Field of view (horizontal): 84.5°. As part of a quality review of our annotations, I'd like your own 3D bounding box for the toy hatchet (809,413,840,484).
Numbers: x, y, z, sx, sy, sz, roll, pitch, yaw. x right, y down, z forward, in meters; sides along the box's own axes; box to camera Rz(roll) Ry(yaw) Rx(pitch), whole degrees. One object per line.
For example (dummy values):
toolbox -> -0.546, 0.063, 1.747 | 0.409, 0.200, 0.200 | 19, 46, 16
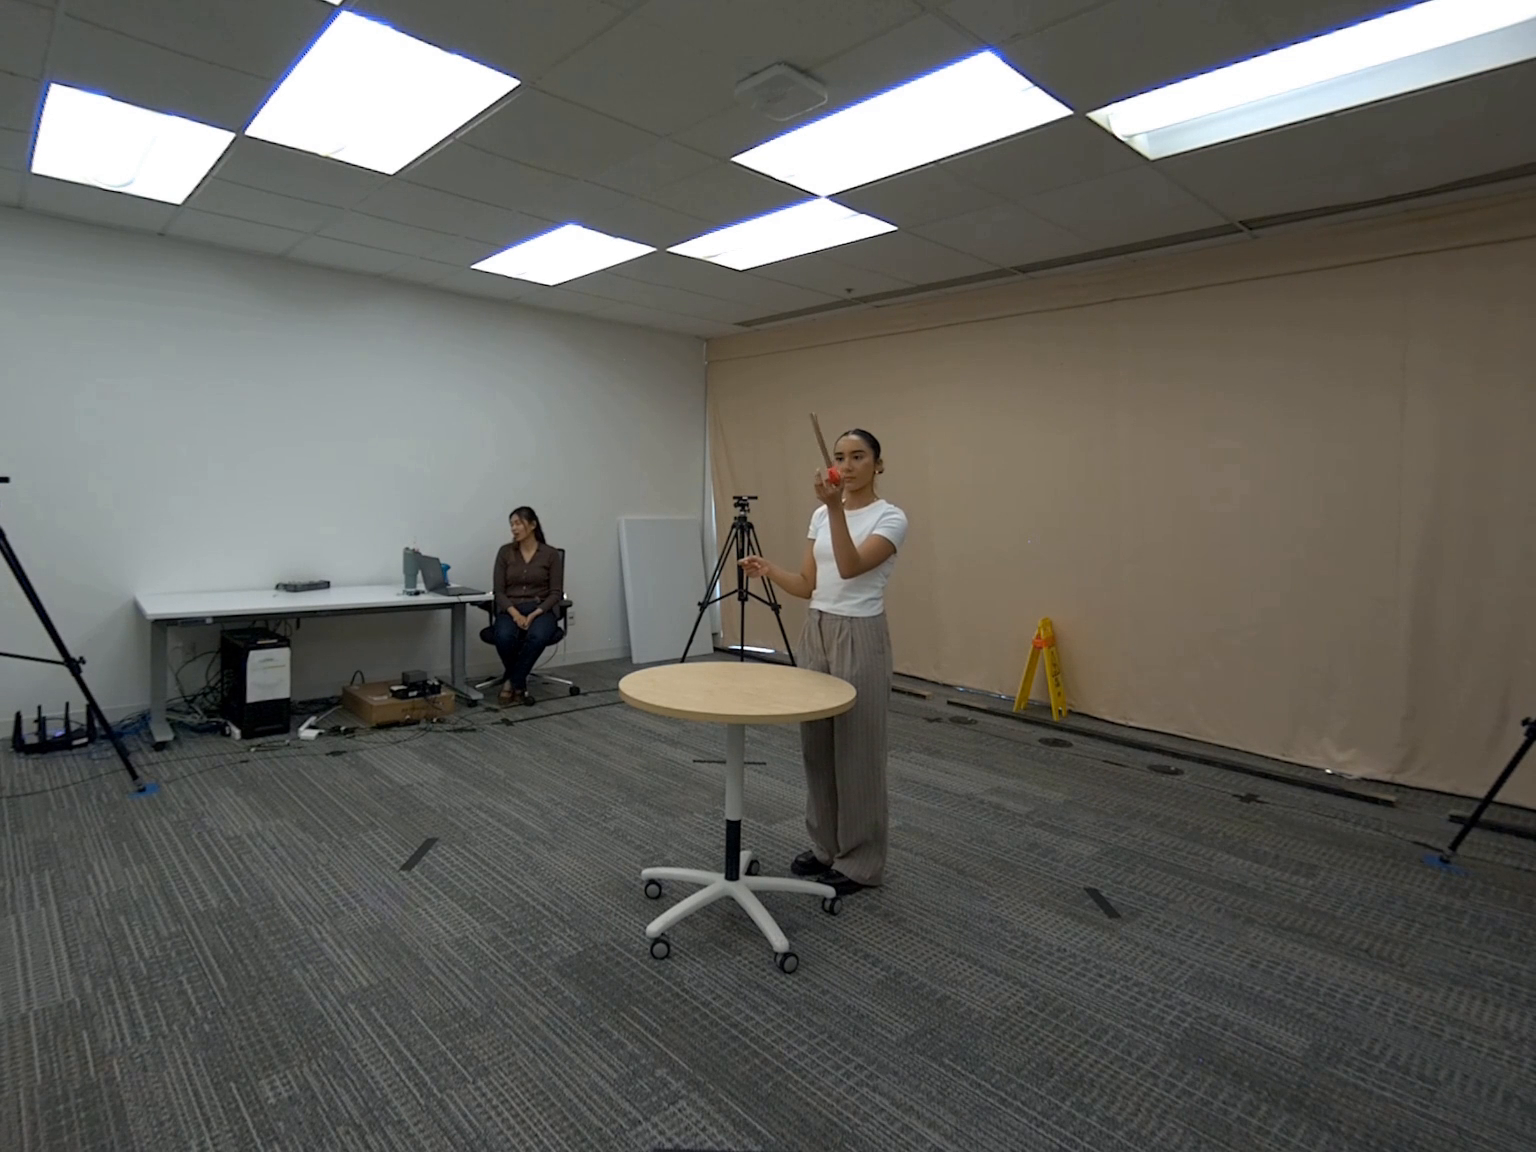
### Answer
toy hatchet -> 0.182, -0.397, 2.717 | 0.030, 0.277, 0.127 | -19, -34, 10
